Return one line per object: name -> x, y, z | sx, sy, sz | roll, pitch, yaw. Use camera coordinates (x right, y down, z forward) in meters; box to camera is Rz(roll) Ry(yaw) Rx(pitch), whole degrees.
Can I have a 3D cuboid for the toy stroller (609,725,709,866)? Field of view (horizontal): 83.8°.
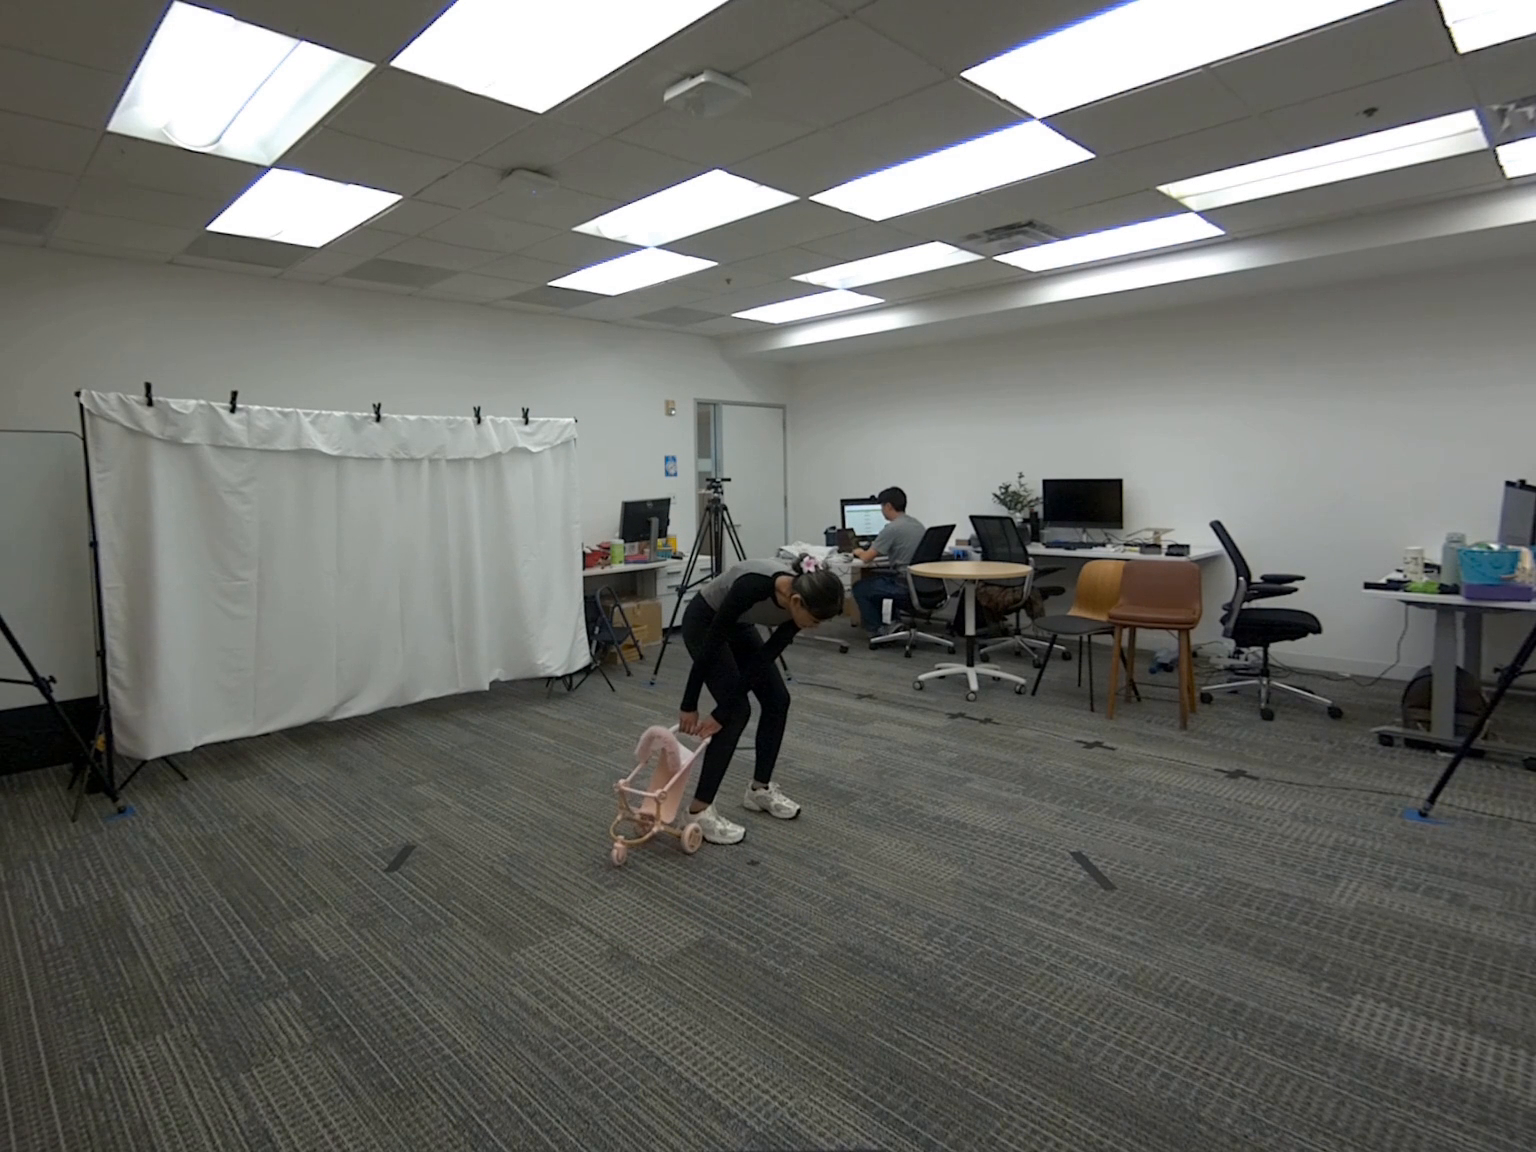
toy stroller -> -0.423, 0.807, 3.228 | 0.290, 0.539, 0.329 | 1, -15, 42
